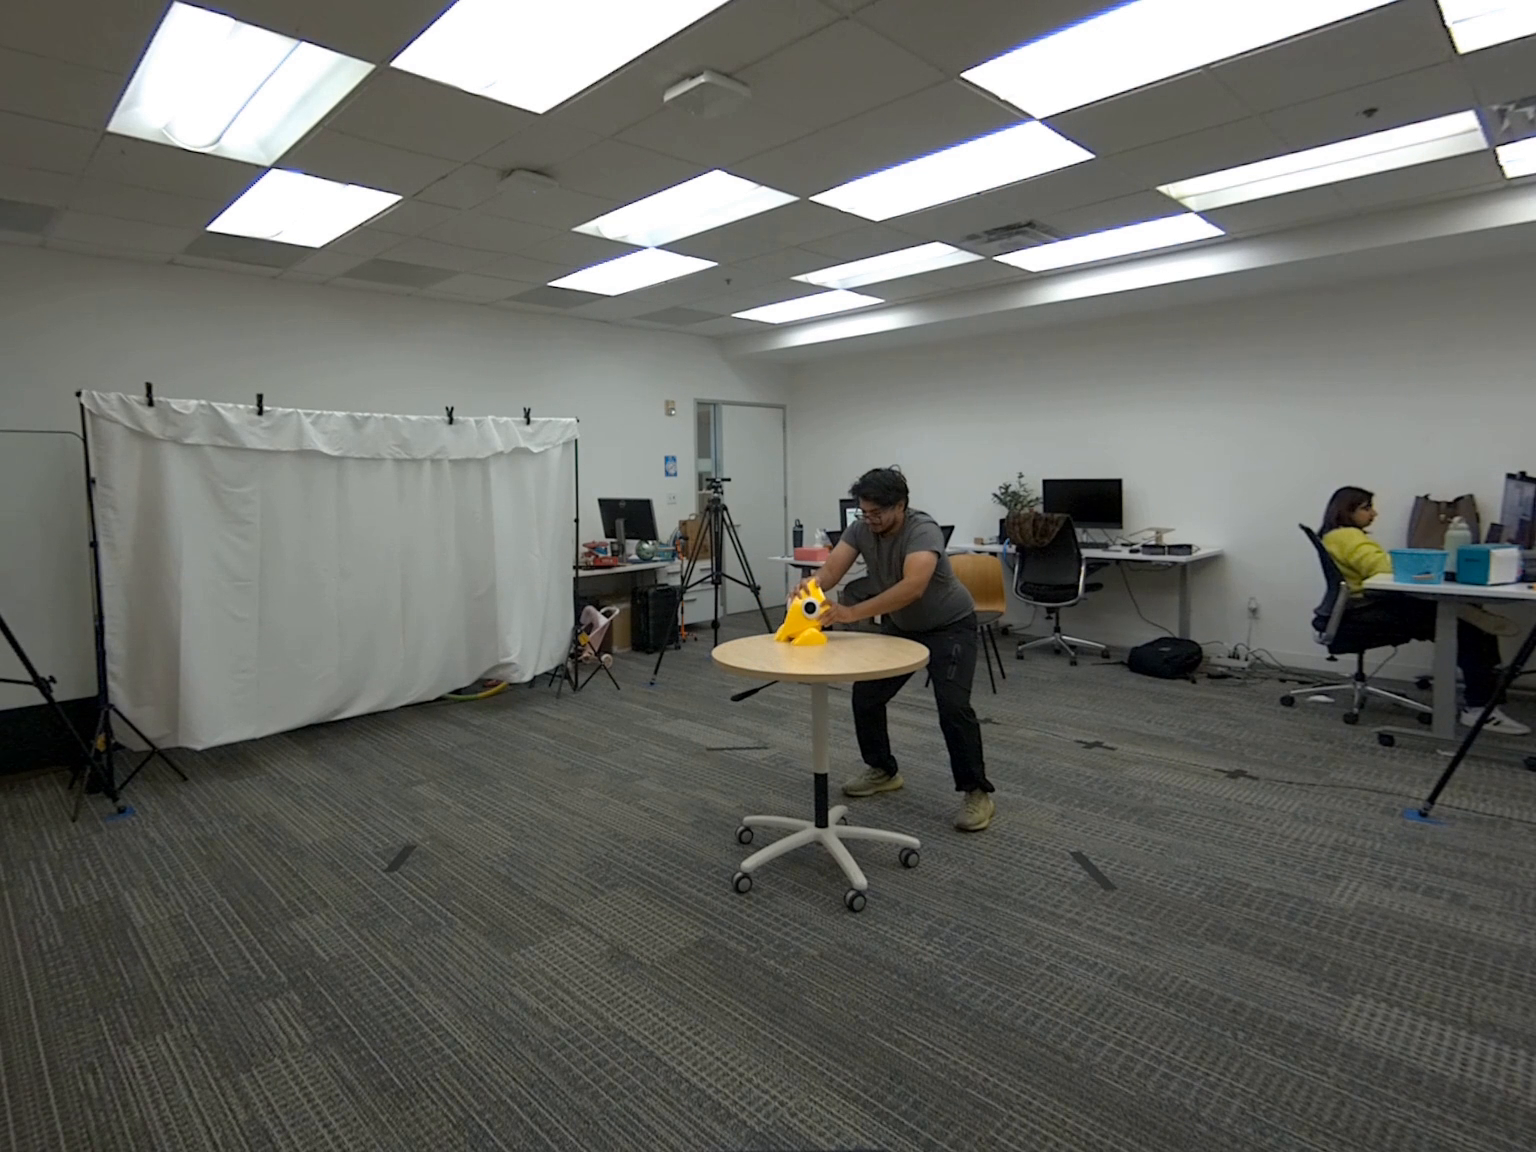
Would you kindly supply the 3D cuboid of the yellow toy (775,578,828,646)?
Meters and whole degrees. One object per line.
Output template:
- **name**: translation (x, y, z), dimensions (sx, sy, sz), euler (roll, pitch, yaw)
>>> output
- **yellow toy**: translation (0.133, 0.132, 3.243), dimensions (0.188, 0.230, 0.210), euler (-4, 4, -32)
